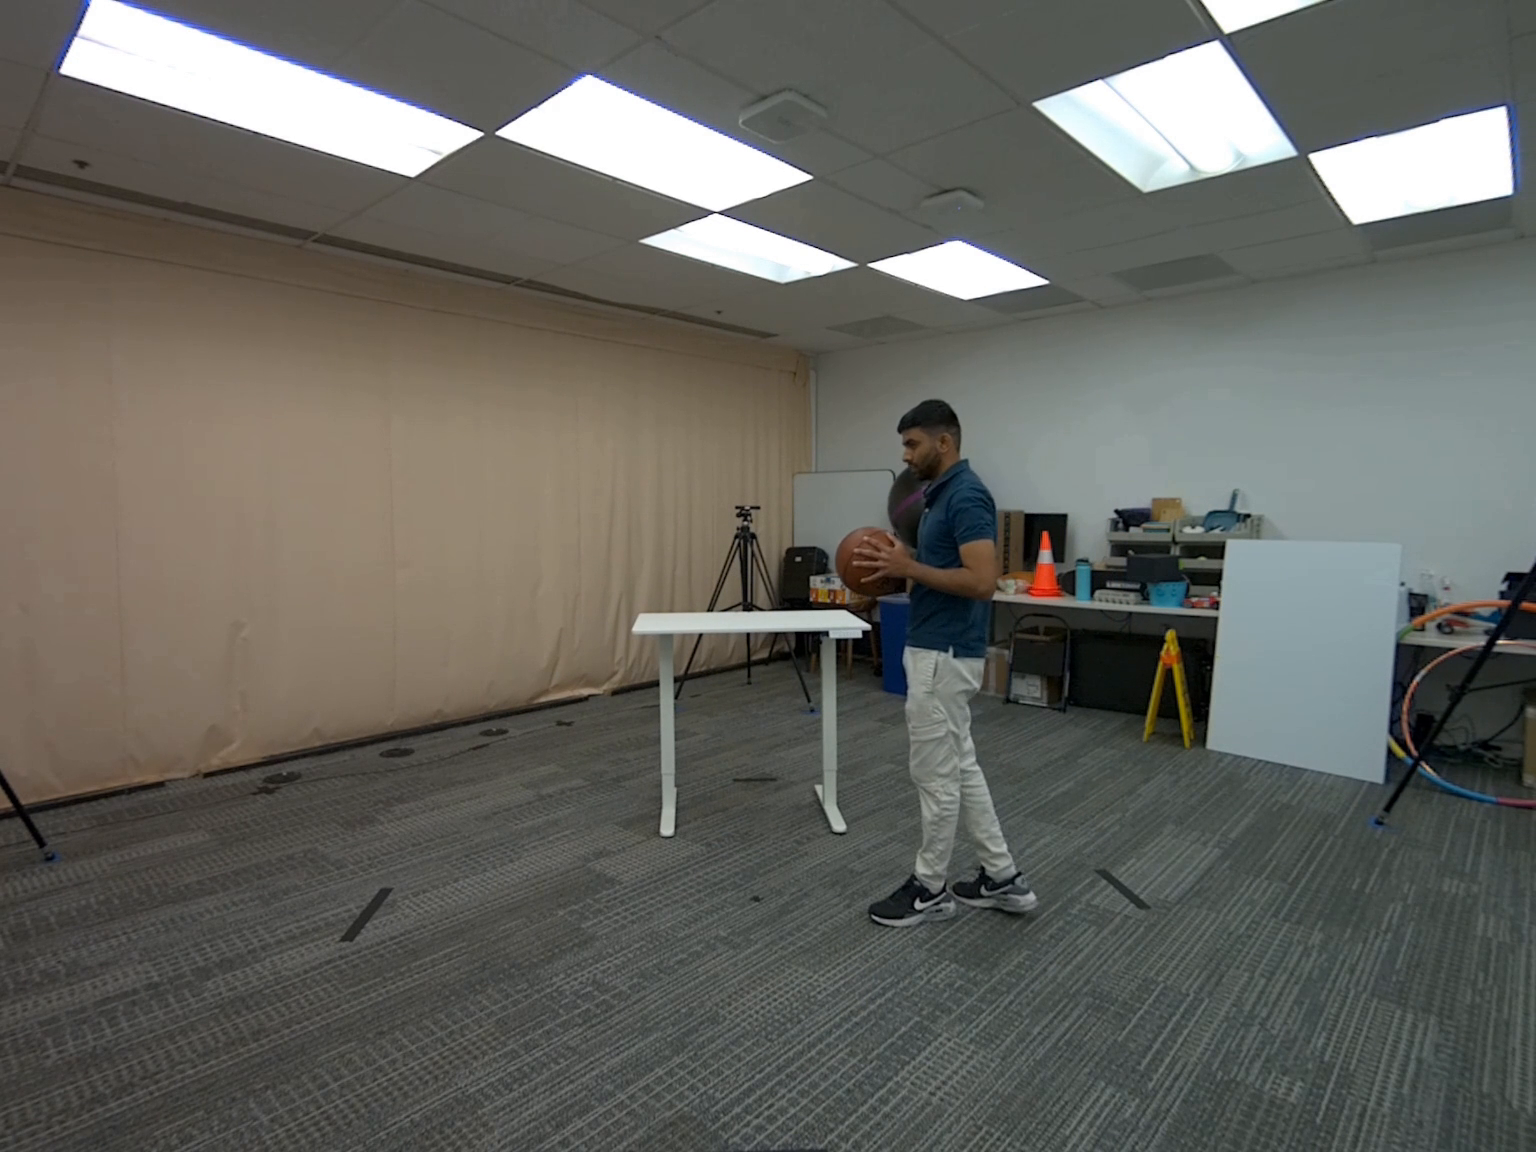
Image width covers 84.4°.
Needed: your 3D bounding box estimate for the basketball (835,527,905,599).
[{"bbox_3d":[0.354,-0.045,2.866,0.236,0.235,0.237,0,4,-2],"label":"basketball"}]
